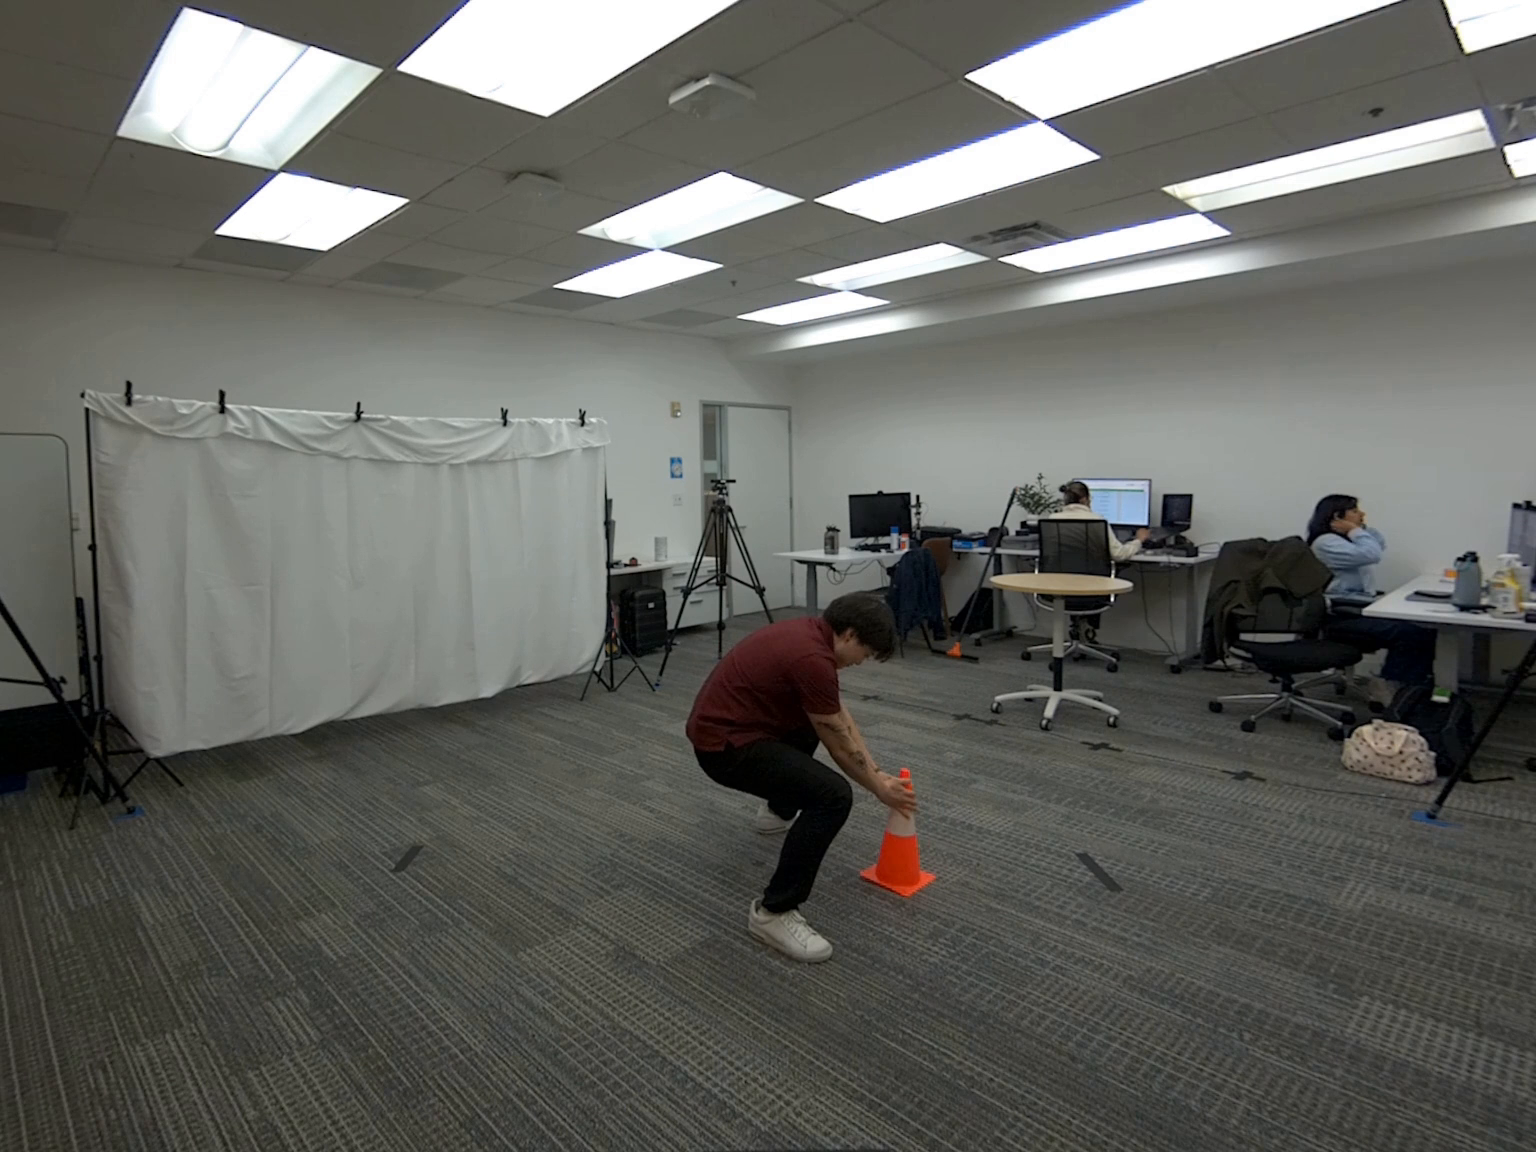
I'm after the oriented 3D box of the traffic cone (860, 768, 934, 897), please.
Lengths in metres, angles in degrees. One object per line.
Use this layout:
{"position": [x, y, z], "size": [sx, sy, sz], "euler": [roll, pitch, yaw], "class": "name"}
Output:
{"position": [0.473, 0.862, 2.965], "size": [0.199, 0.382, 0.210], "euler": [-1, 7, -38], "class": "traffic cone"}
